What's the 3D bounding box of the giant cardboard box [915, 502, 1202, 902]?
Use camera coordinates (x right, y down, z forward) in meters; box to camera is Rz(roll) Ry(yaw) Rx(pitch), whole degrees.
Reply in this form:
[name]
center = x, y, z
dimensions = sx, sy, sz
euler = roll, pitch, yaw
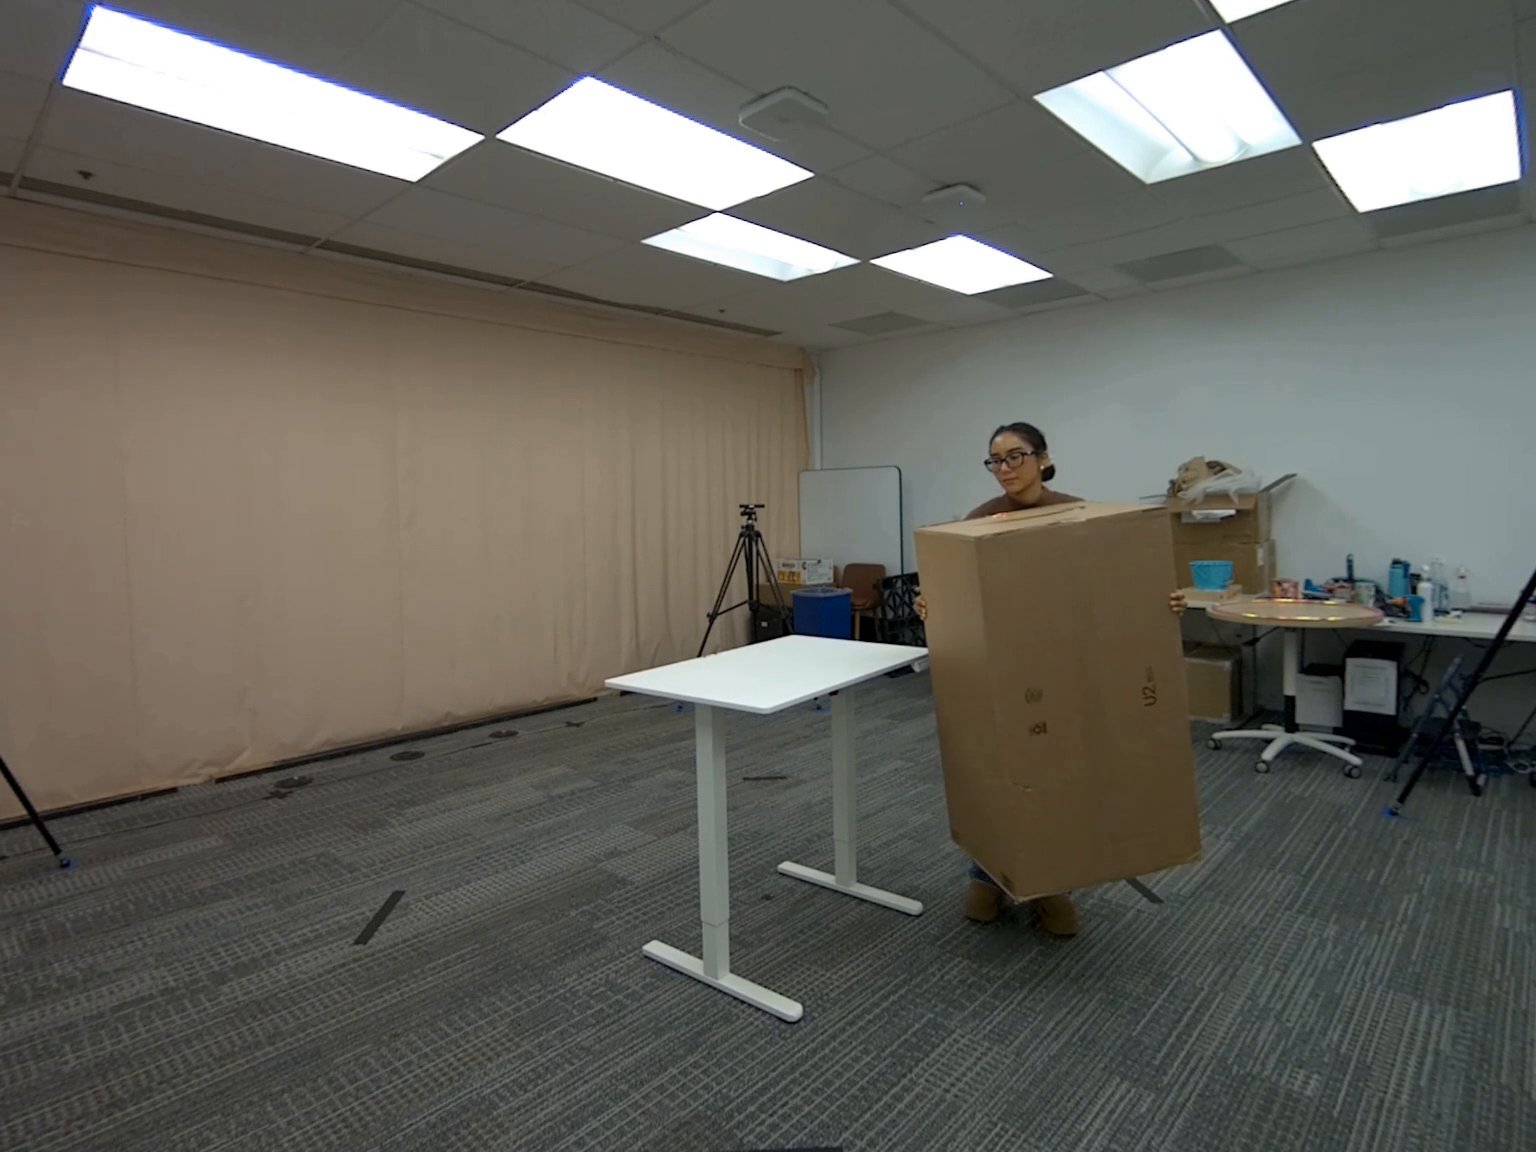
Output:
[giant cardboard box]
center = 0.844, 0.332, 2.496
dimensions = 0.573, 1.021, 0.432
euler = -9, 6, -9
